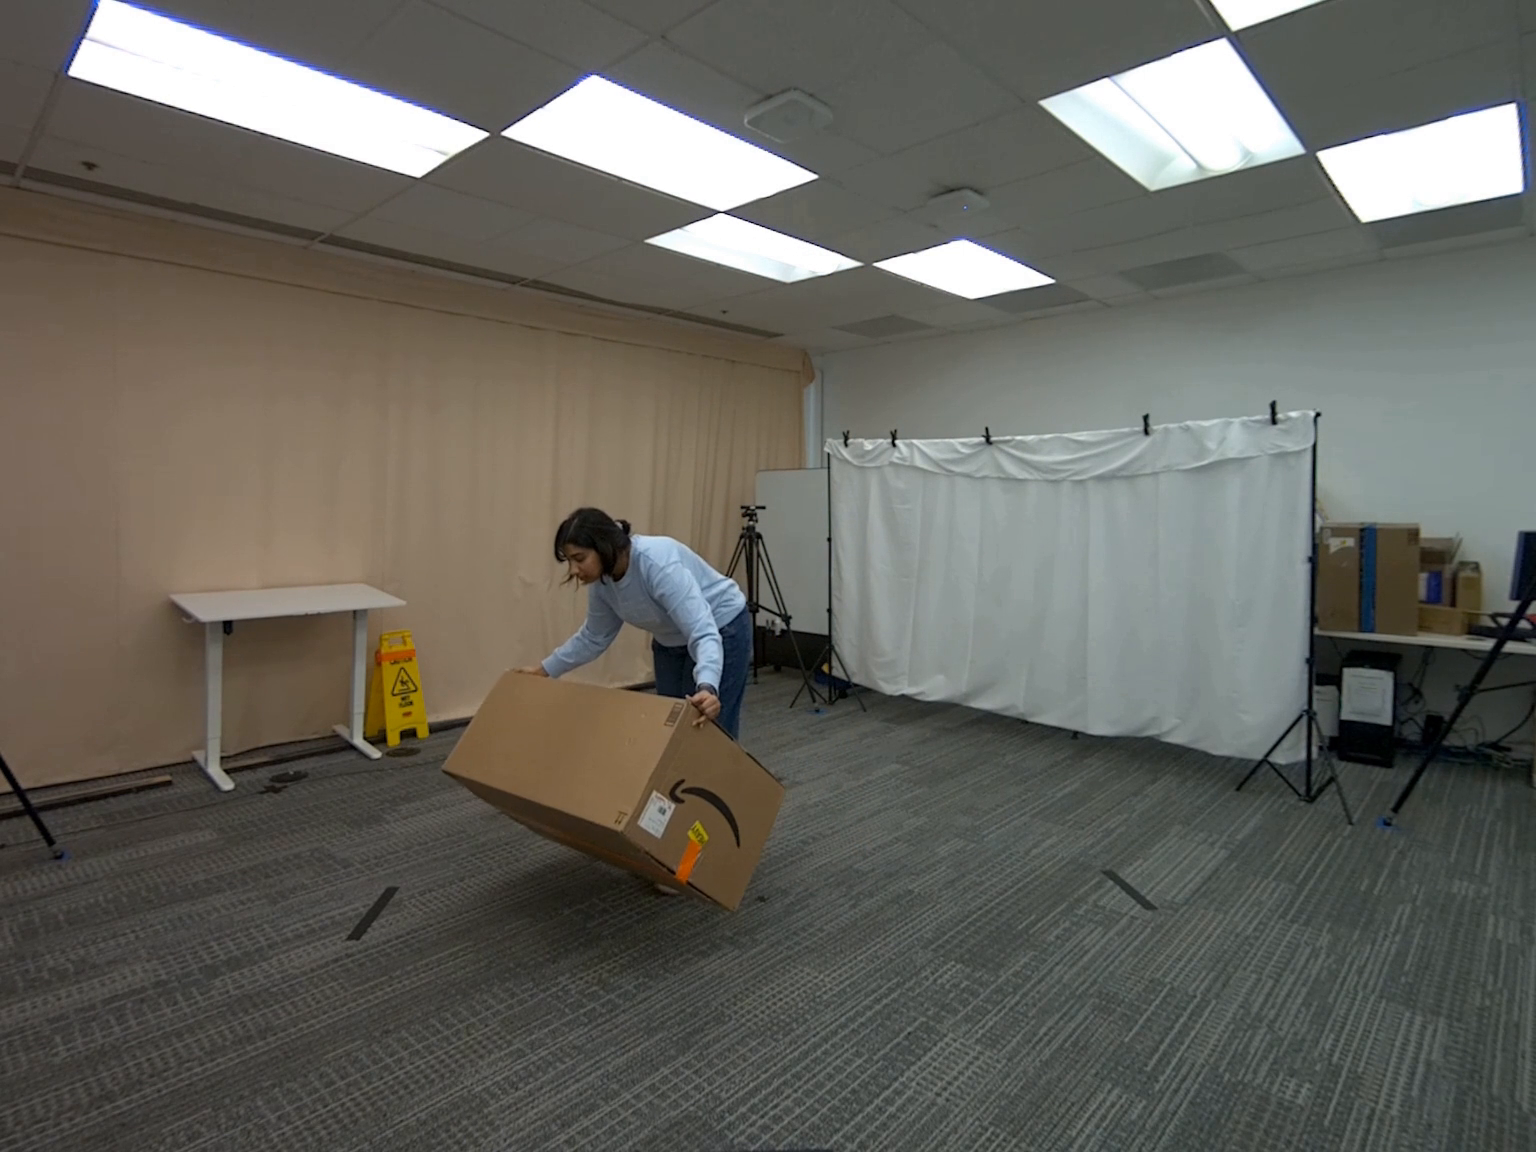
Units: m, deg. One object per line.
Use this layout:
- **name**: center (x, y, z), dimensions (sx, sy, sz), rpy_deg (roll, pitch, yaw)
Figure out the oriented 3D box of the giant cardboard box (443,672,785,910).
- **giant cardboard box**: center (-0.553, 0.702, 2.898), dimensions (1.059, 0.426, 0.558), rpy_deg (1, -37, 43)
